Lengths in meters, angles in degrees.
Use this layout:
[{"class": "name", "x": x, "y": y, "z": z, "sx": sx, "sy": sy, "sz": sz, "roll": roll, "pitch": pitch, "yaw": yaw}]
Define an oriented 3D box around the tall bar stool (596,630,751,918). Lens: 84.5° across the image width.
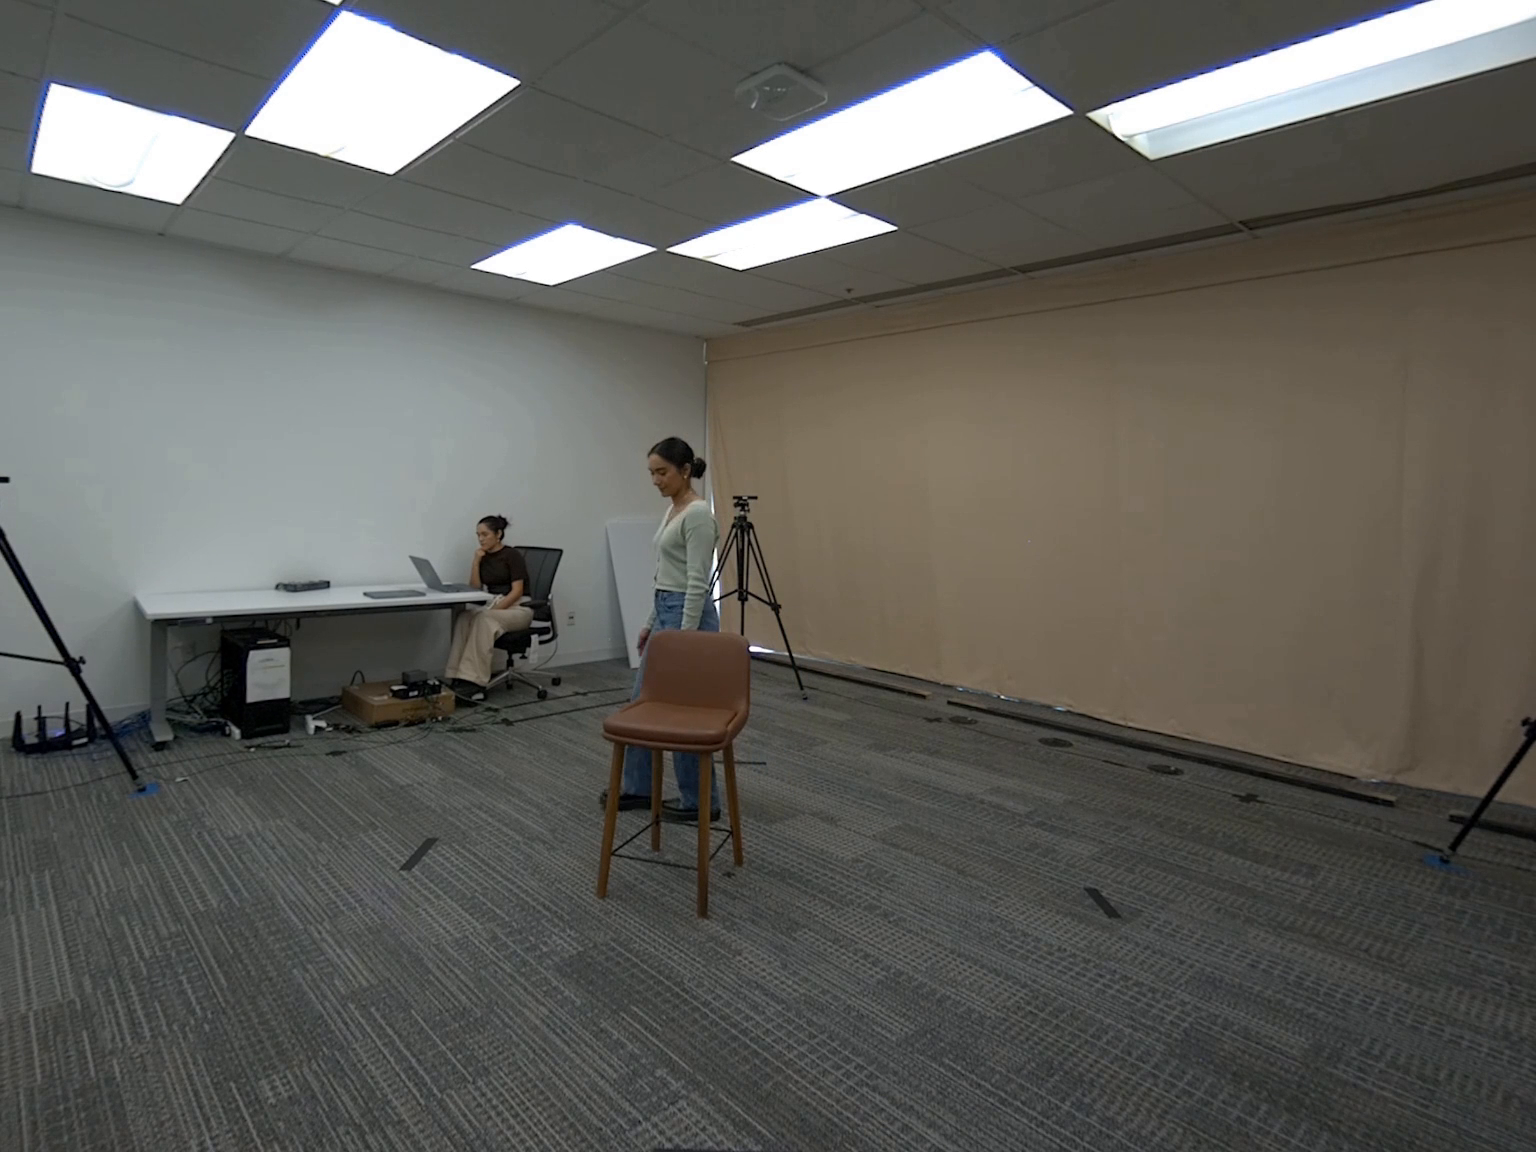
[{"class": "tall bar stool", "x": -0.329, "y": 0.668, "z": 3.032, "sx": 0.464, "sy": 0.889, "sz": 0.461, "roll": 2, "pitch": 2, "yaw": 19}]
